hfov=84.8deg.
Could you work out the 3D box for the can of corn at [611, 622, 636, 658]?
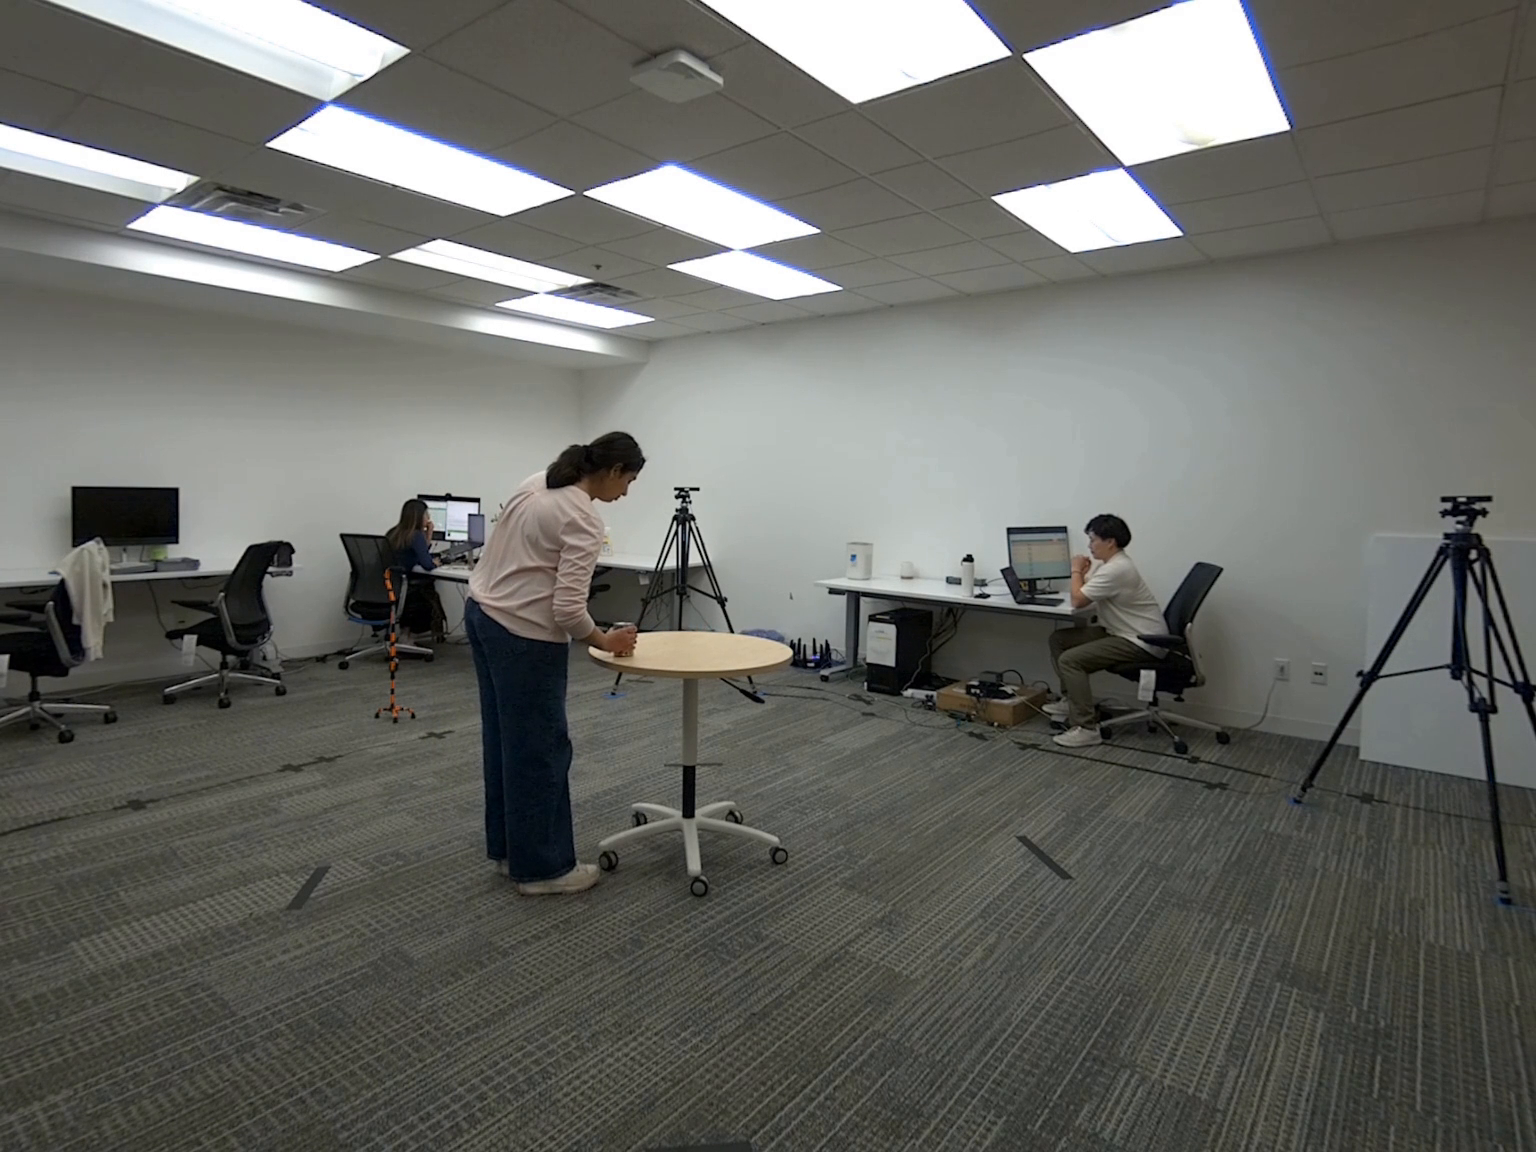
[{"bbox_3d":[-0.525,0.229,3.047,0.074,0.111,0.074,-3,2,-2],"label":"can of corn"}]
